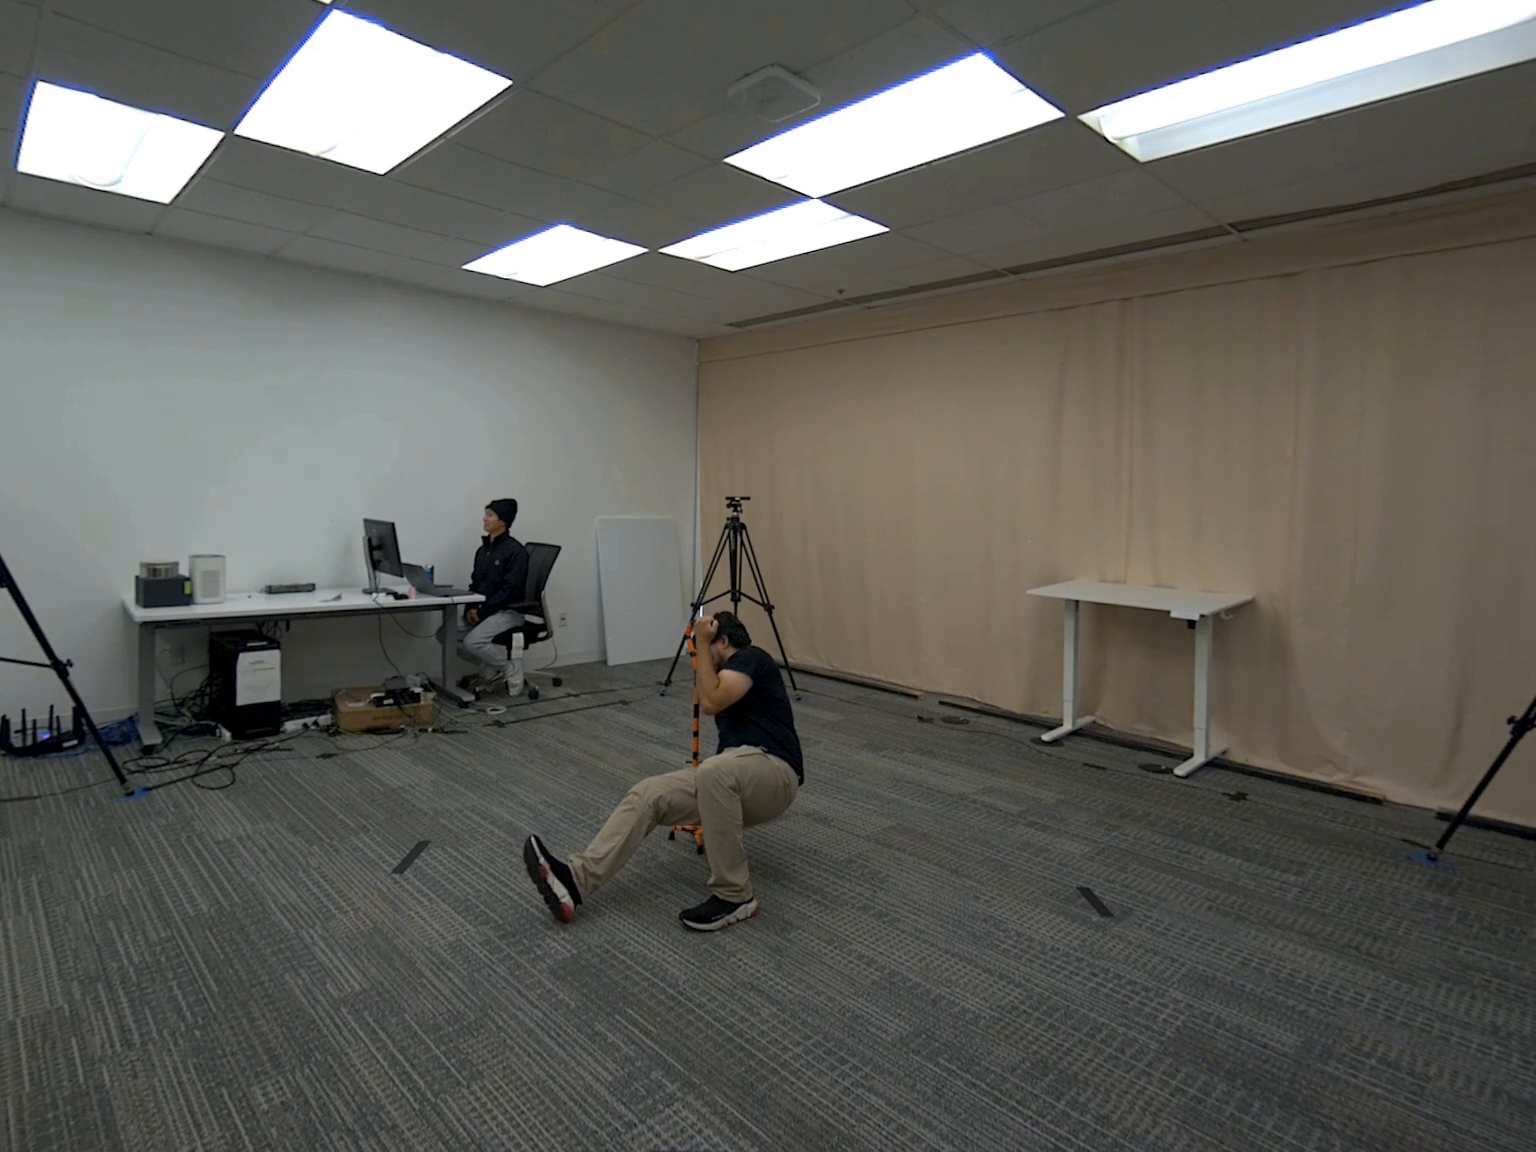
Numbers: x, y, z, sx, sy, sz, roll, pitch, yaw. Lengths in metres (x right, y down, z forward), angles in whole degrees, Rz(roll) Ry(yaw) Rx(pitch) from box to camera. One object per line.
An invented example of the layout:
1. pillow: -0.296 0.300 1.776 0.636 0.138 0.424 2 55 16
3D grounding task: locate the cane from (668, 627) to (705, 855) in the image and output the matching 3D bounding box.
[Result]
1. cane: -0.283 0.630 3.374 0.148 0.905 0.212 -3 6 -42
